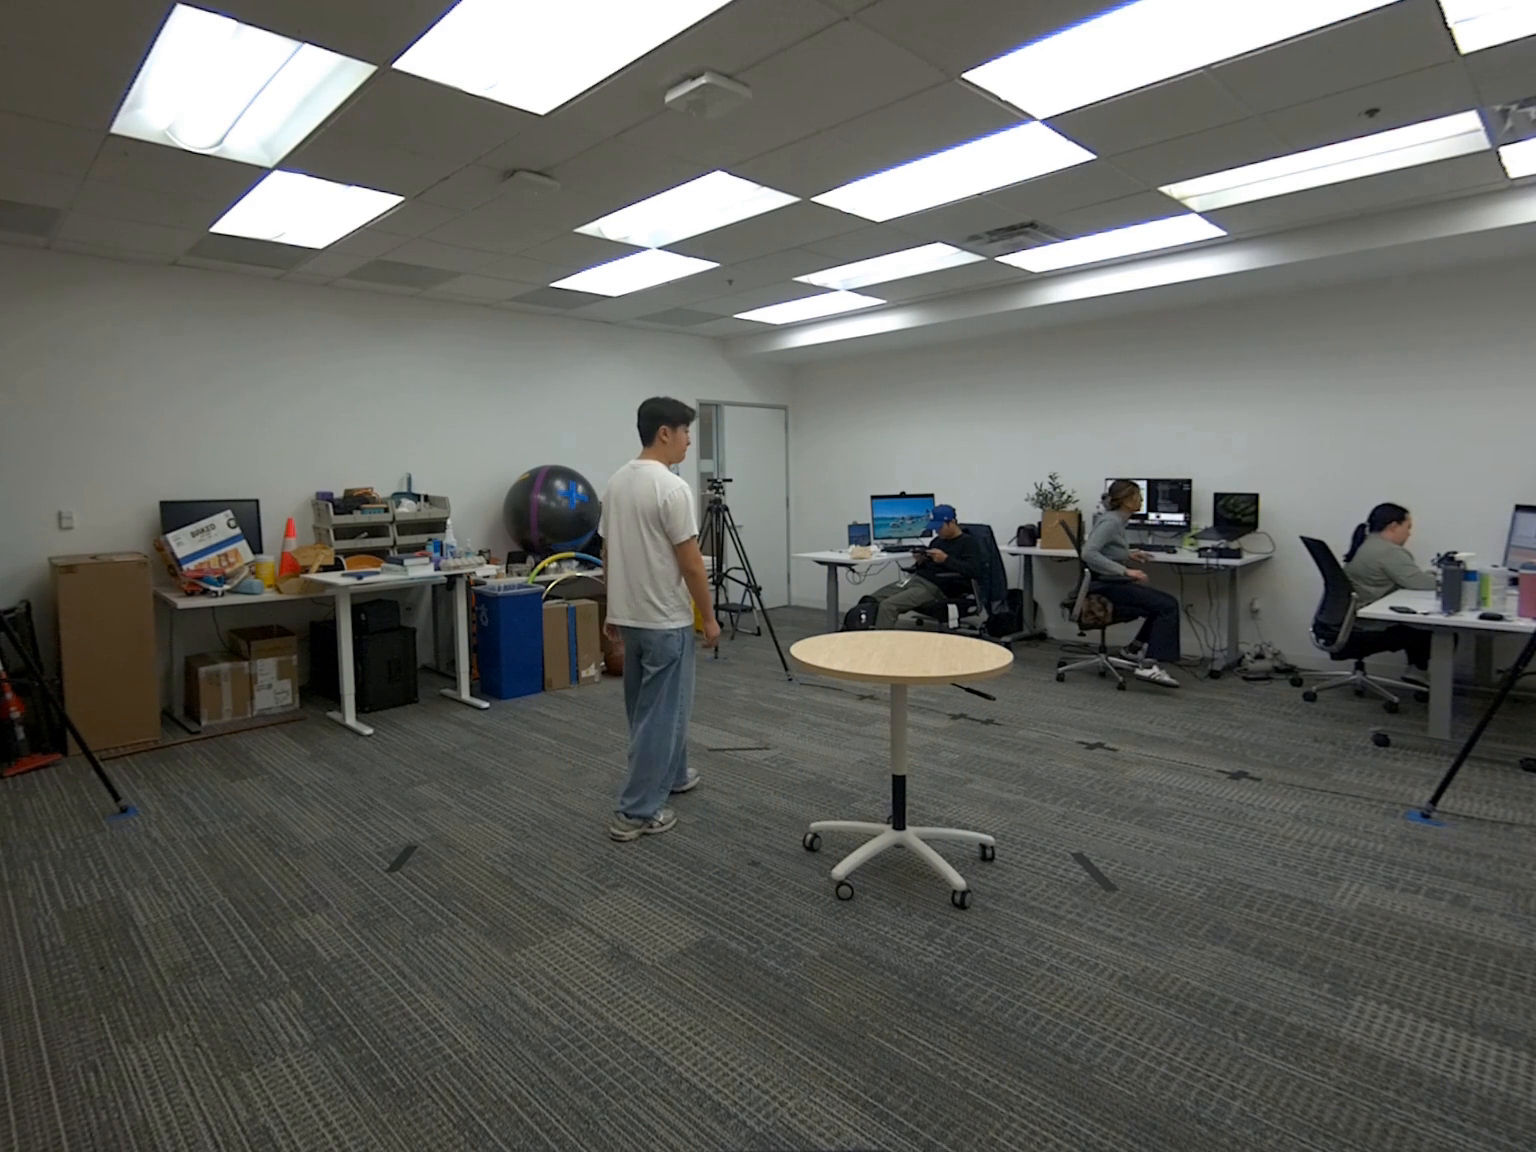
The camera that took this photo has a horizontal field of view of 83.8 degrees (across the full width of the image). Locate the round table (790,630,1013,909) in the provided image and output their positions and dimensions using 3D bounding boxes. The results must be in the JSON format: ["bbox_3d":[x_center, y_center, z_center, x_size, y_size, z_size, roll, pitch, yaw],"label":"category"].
[{"bbox_3d":[0.470,0.653,3.021,0.784,0.783,0.789,-1,5,-2],"label":"round table"}]
